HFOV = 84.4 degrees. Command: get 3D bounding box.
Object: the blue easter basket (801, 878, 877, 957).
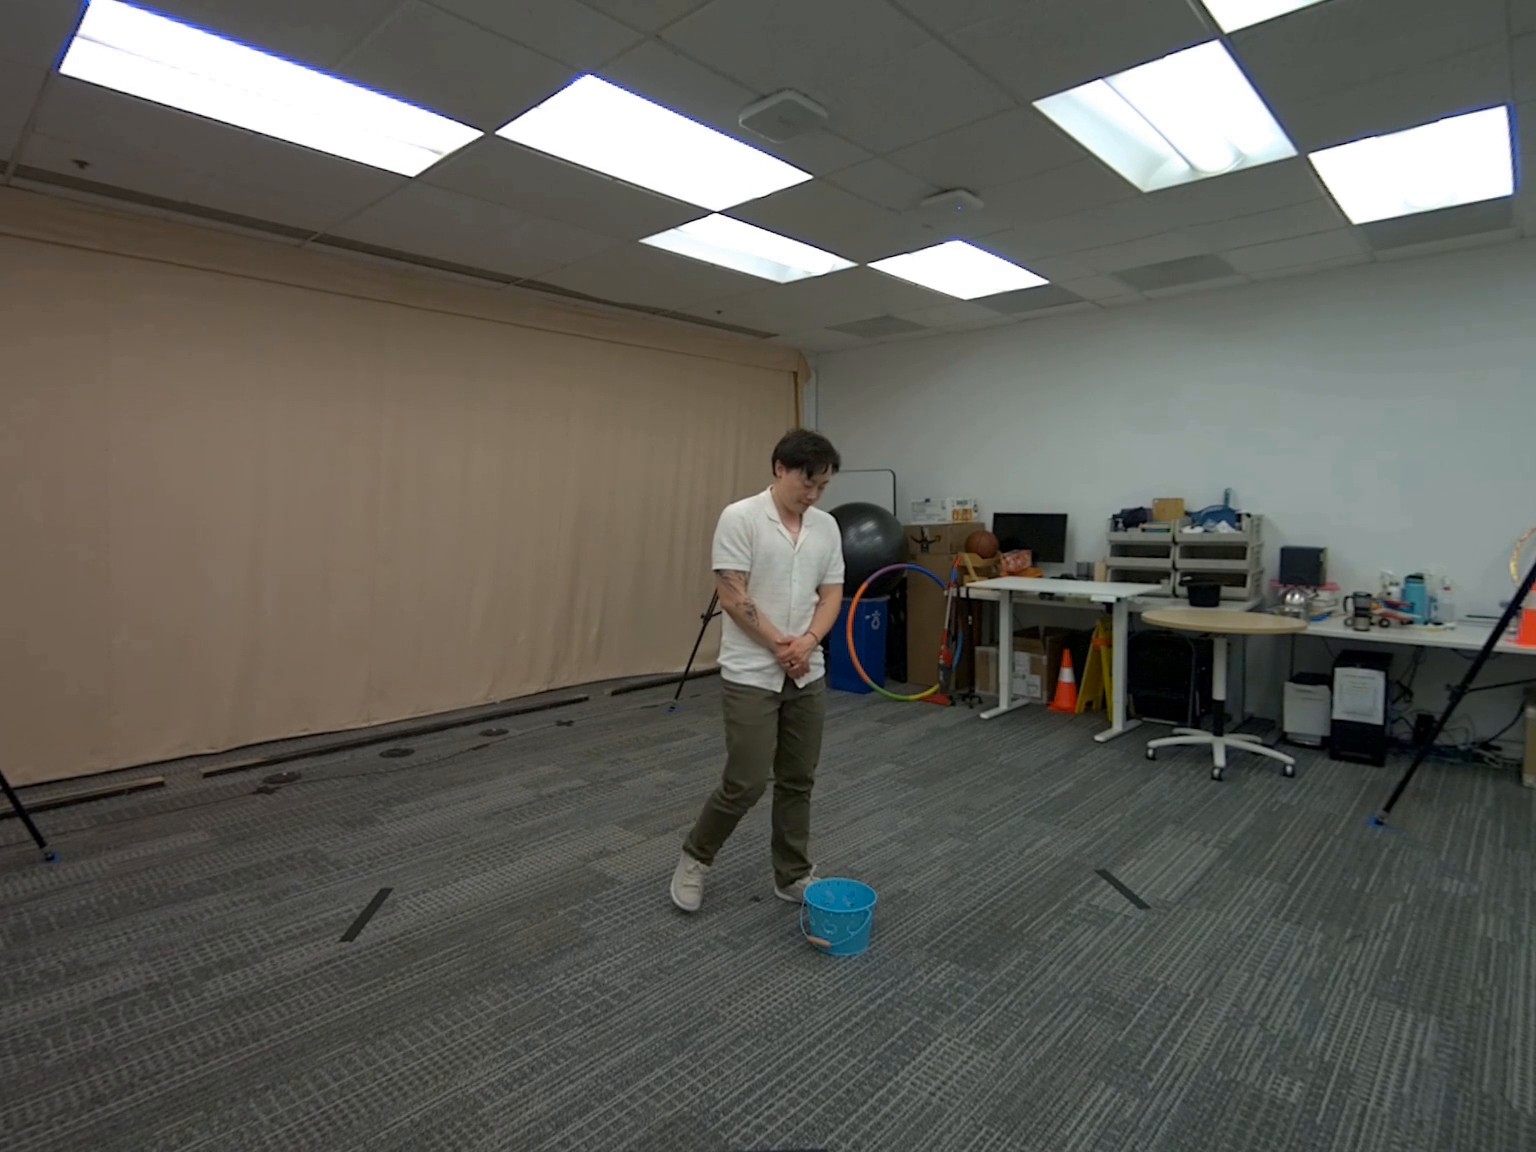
[{"bbox_3d":[0.227,1.087,2.694,0.243,0.155,0.244,1,4,-2],"label":"blue easter basket"}]
